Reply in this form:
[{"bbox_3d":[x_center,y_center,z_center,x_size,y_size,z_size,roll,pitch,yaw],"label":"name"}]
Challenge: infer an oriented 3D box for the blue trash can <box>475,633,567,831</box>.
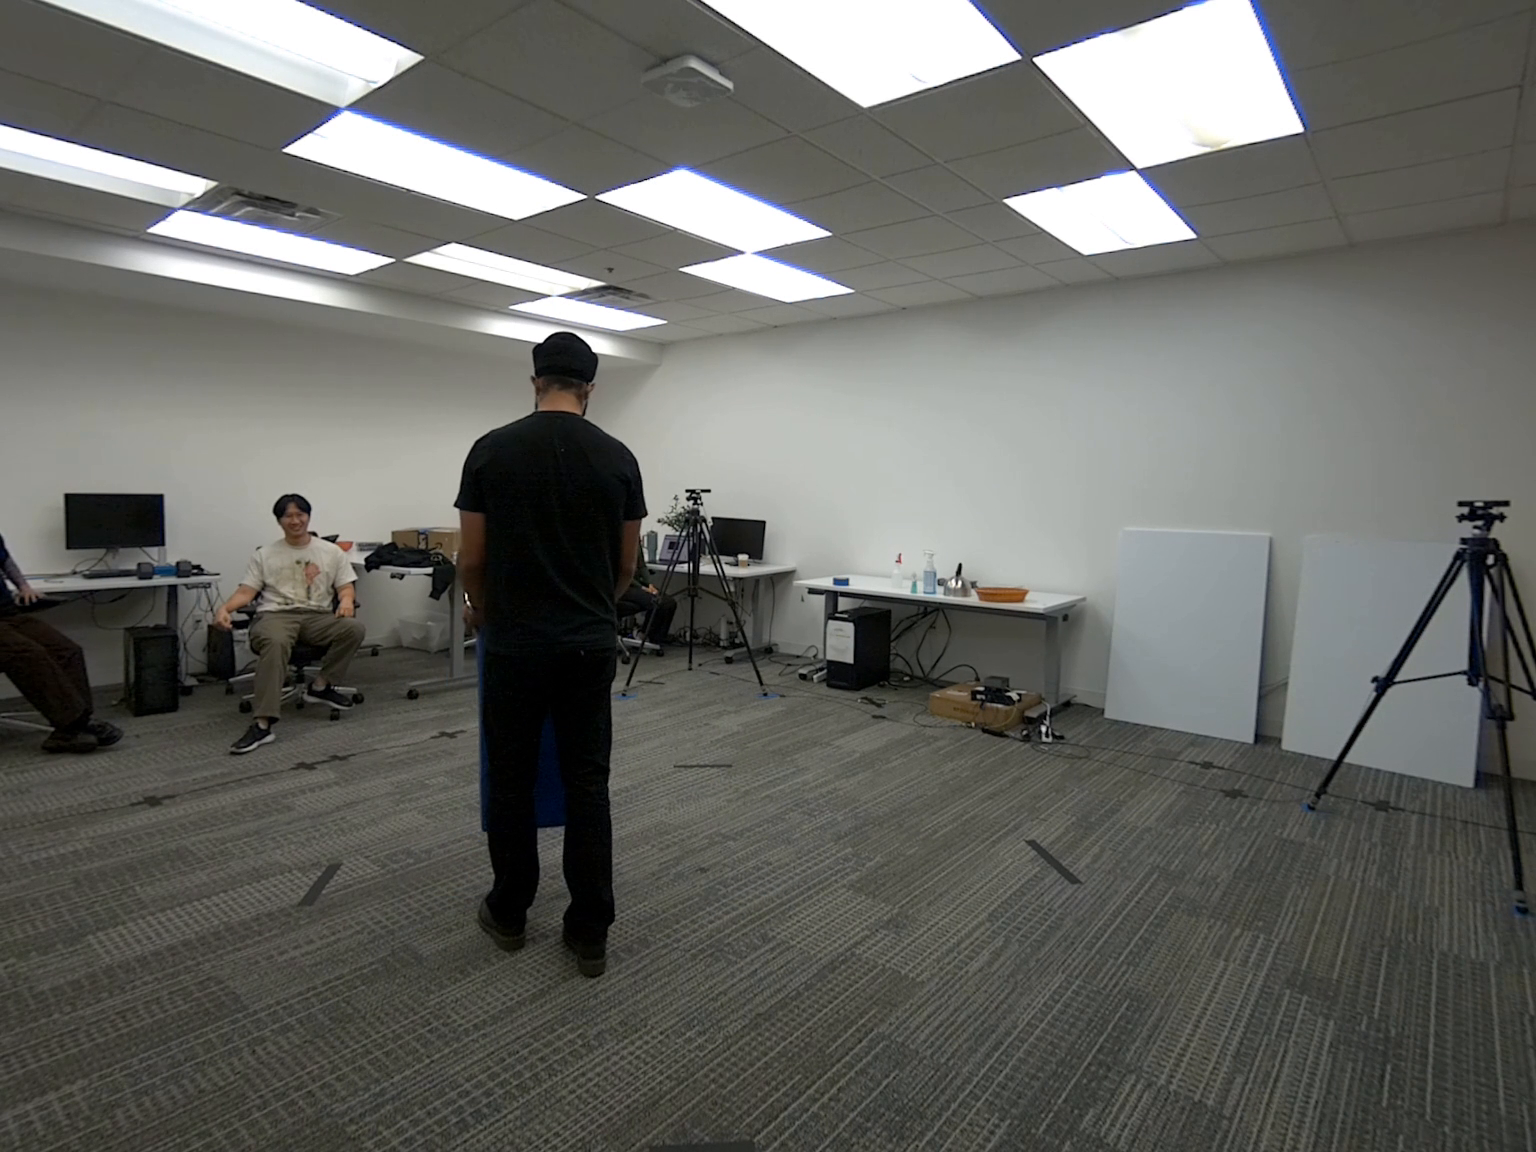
[{"bbox_3d":[-0.843,0.479,2.956,0.371,0.716,0.380,0,-3,-19],"label":"blue trash can"}]
